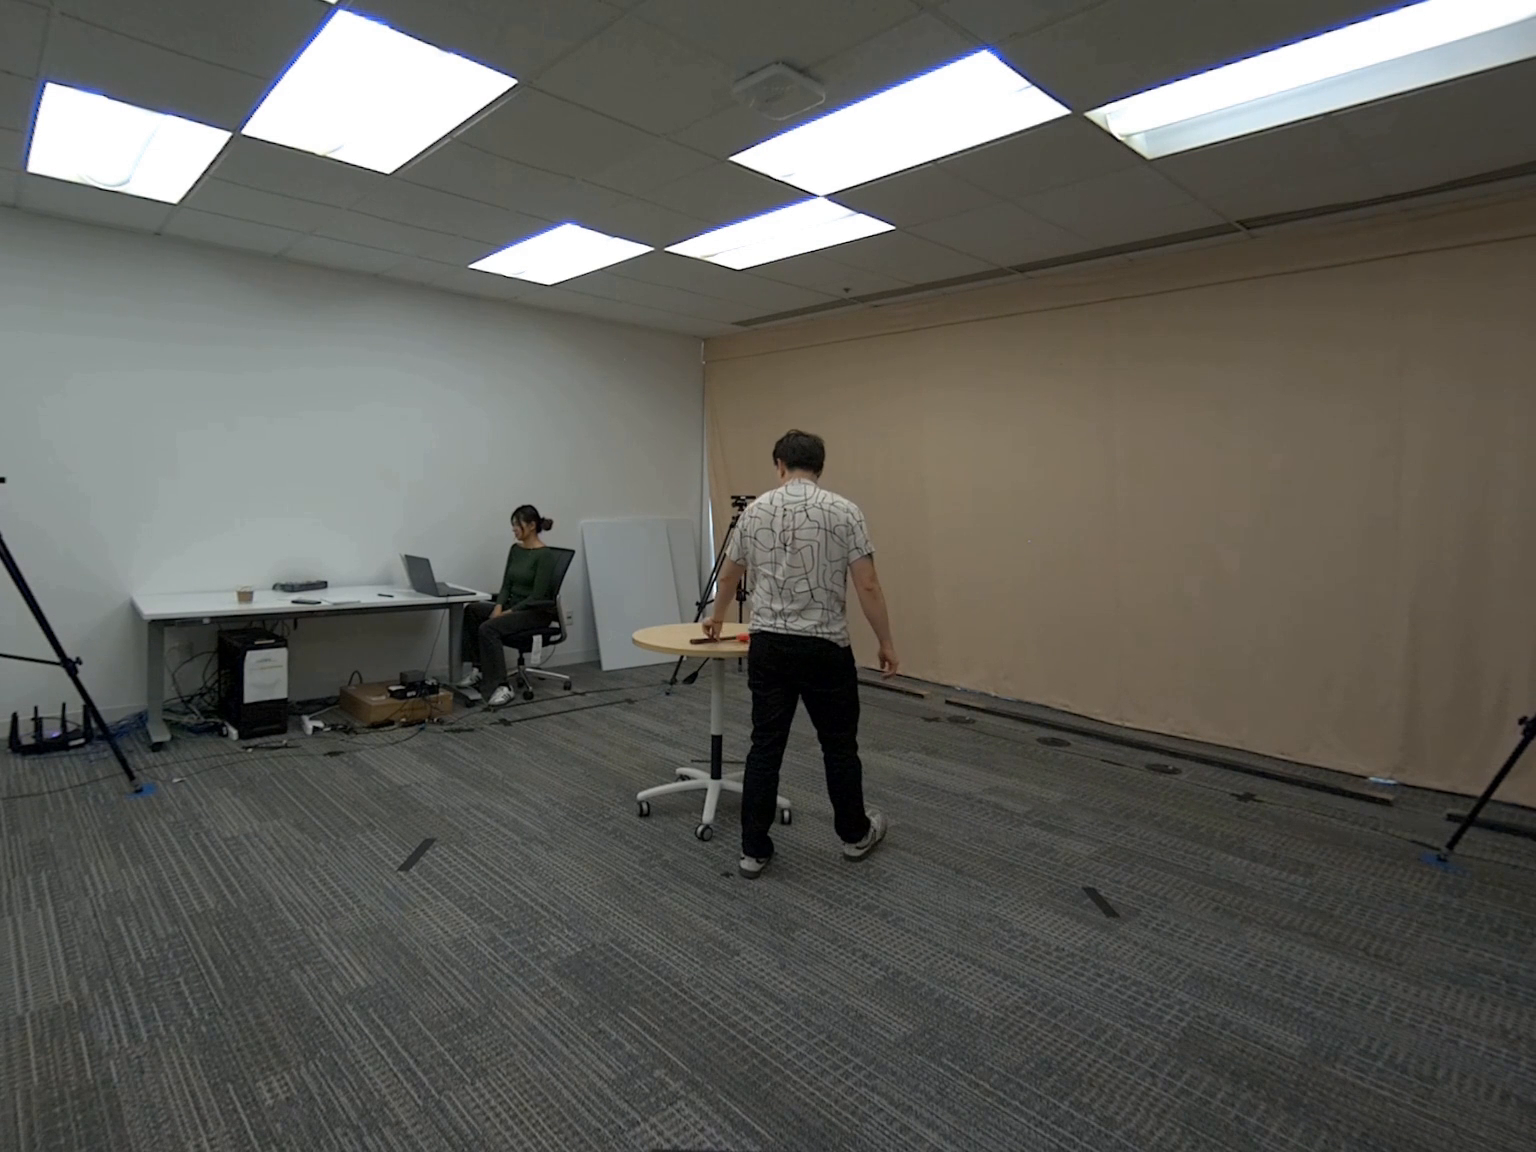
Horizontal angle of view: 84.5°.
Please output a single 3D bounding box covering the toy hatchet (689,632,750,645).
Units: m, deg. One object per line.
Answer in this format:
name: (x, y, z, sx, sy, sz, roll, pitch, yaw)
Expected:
toy hatchet: (-0.192, 0.263, 3.523, 0.264, 0.030, 0.133, -2, -5, -33)
